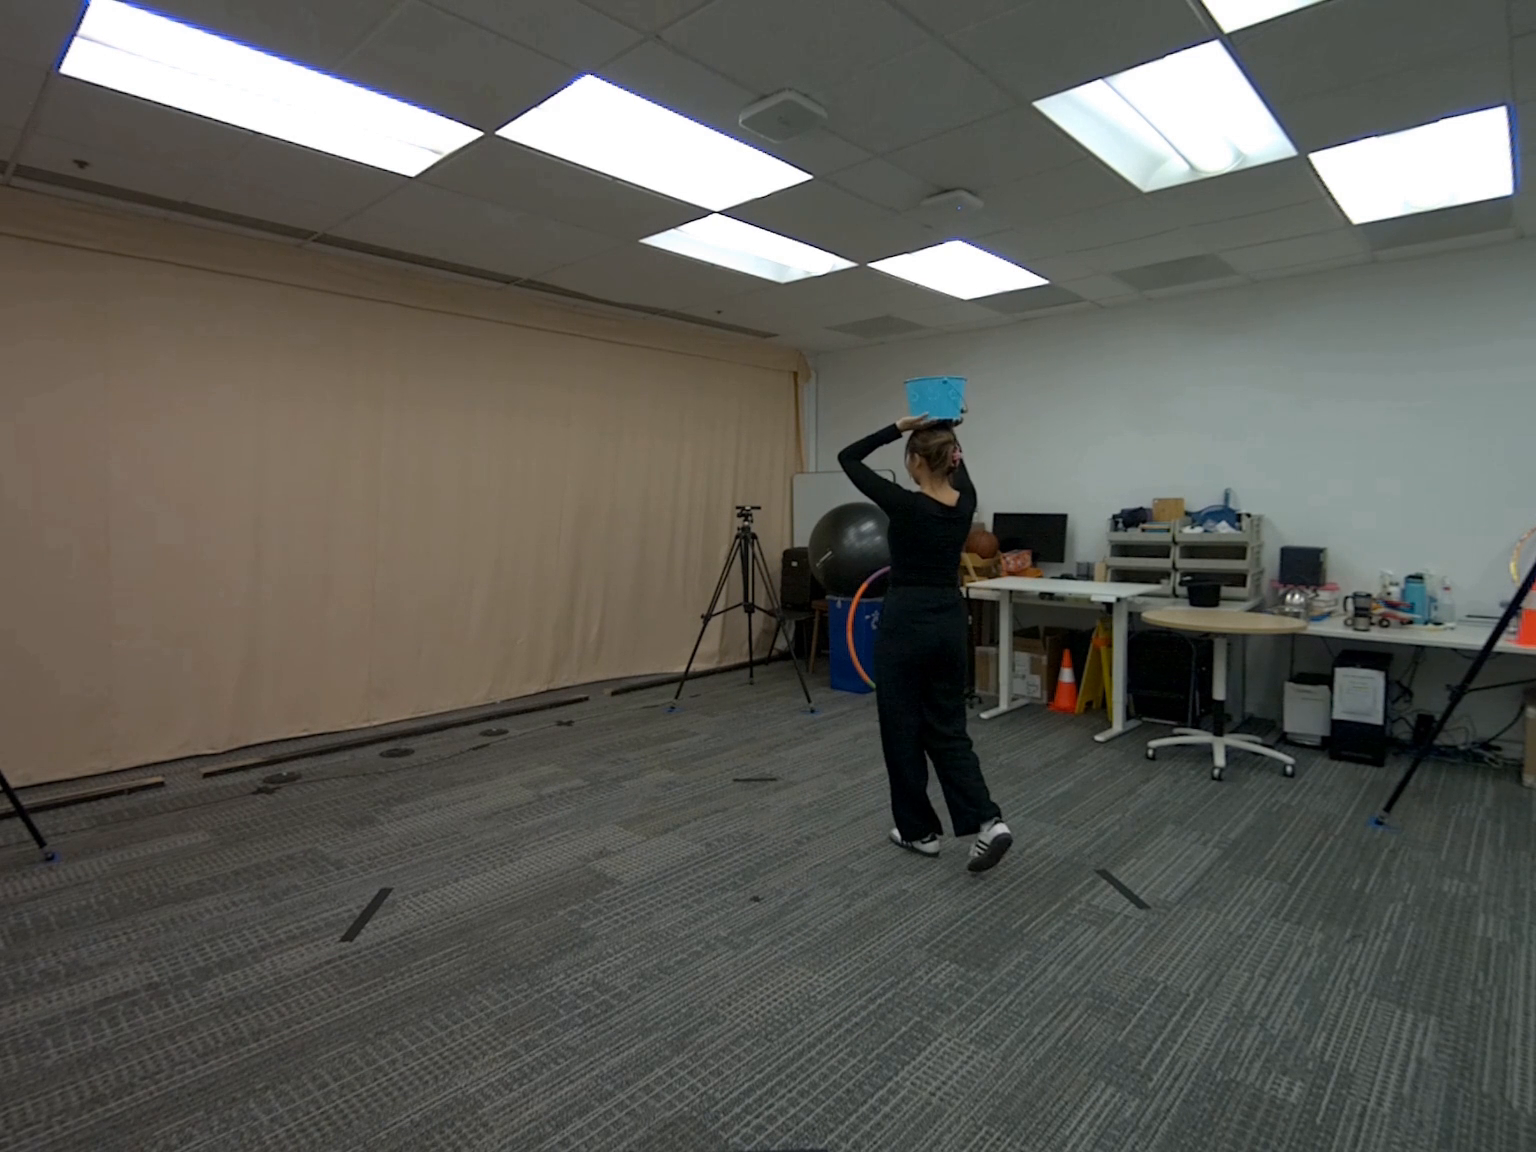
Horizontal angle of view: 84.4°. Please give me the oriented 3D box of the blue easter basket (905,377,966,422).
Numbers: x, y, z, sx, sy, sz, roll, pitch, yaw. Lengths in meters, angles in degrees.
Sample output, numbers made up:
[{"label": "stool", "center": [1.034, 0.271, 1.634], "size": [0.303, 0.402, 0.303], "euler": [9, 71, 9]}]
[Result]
[{"label": "blue easter basket", "center": [0.660, -0.670, 3.211], "size": [0.243, 0.155, 0.244], "euler": [-1, 5, -2]}]
